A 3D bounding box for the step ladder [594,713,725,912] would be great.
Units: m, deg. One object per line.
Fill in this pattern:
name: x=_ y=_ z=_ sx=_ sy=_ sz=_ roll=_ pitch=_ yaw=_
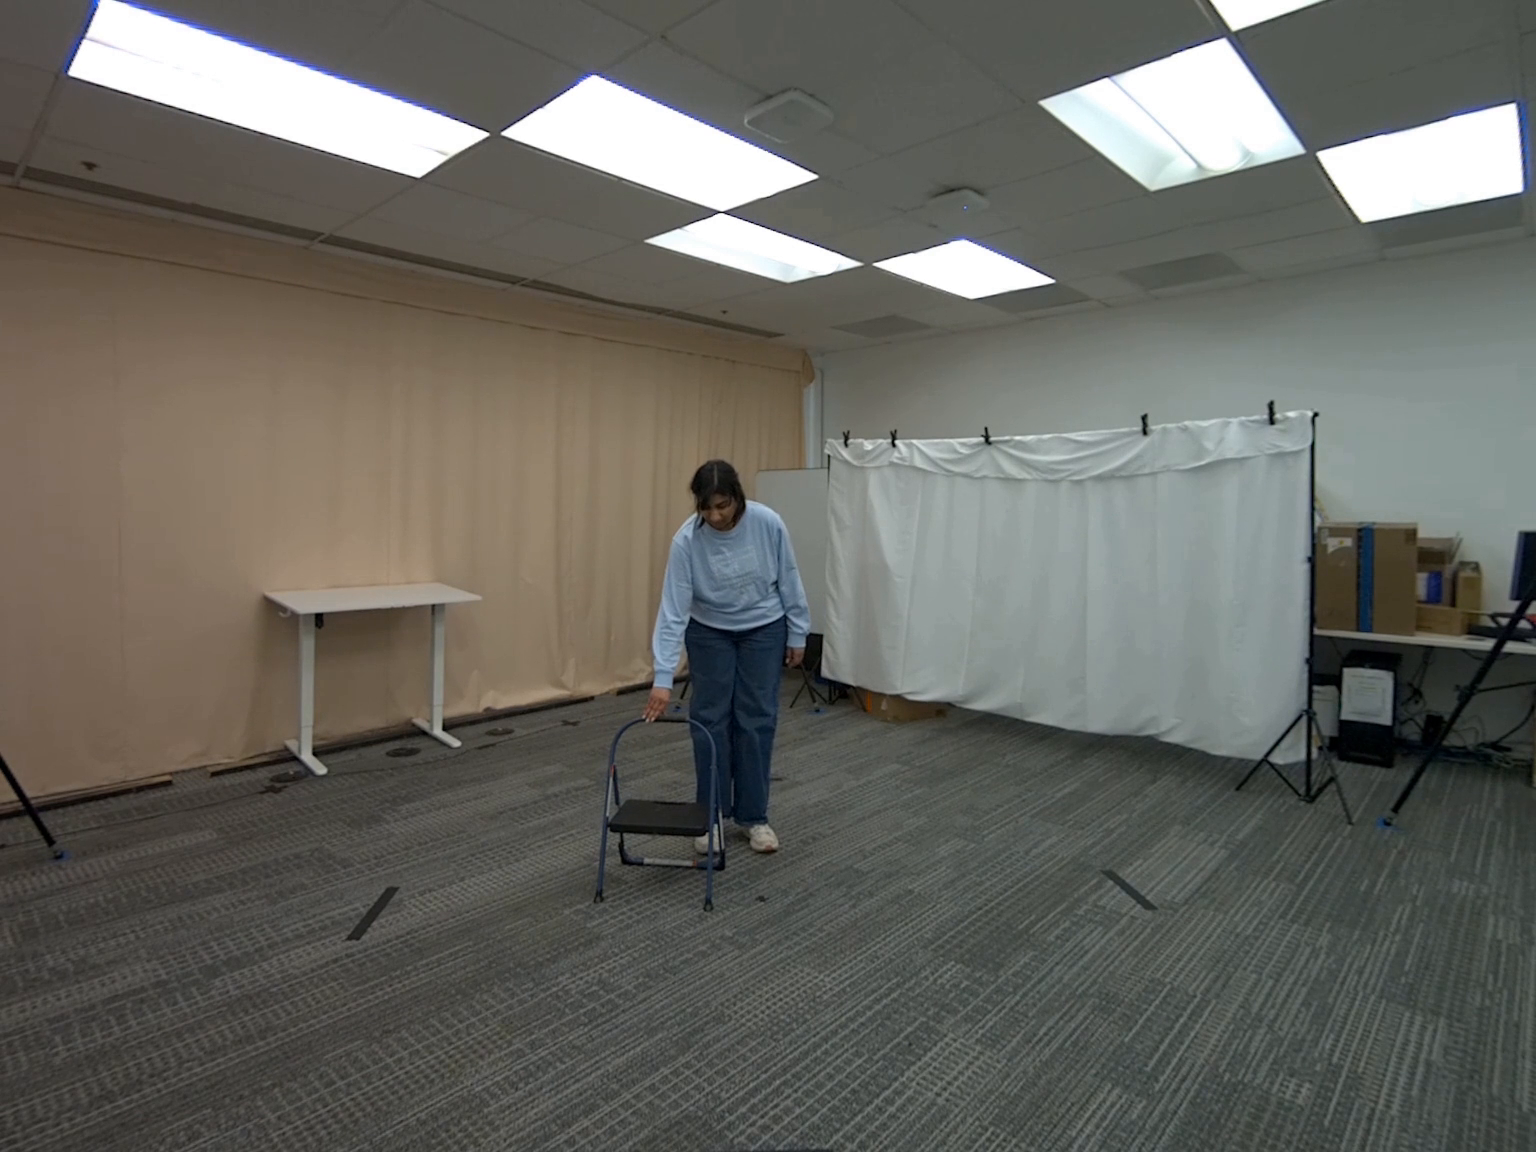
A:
step ladder: x=-0.390 y=0.834 z=3.089 sx=0.435 sy=0.605 sz=0.346 roll=0 pitch=3 yaw=9
